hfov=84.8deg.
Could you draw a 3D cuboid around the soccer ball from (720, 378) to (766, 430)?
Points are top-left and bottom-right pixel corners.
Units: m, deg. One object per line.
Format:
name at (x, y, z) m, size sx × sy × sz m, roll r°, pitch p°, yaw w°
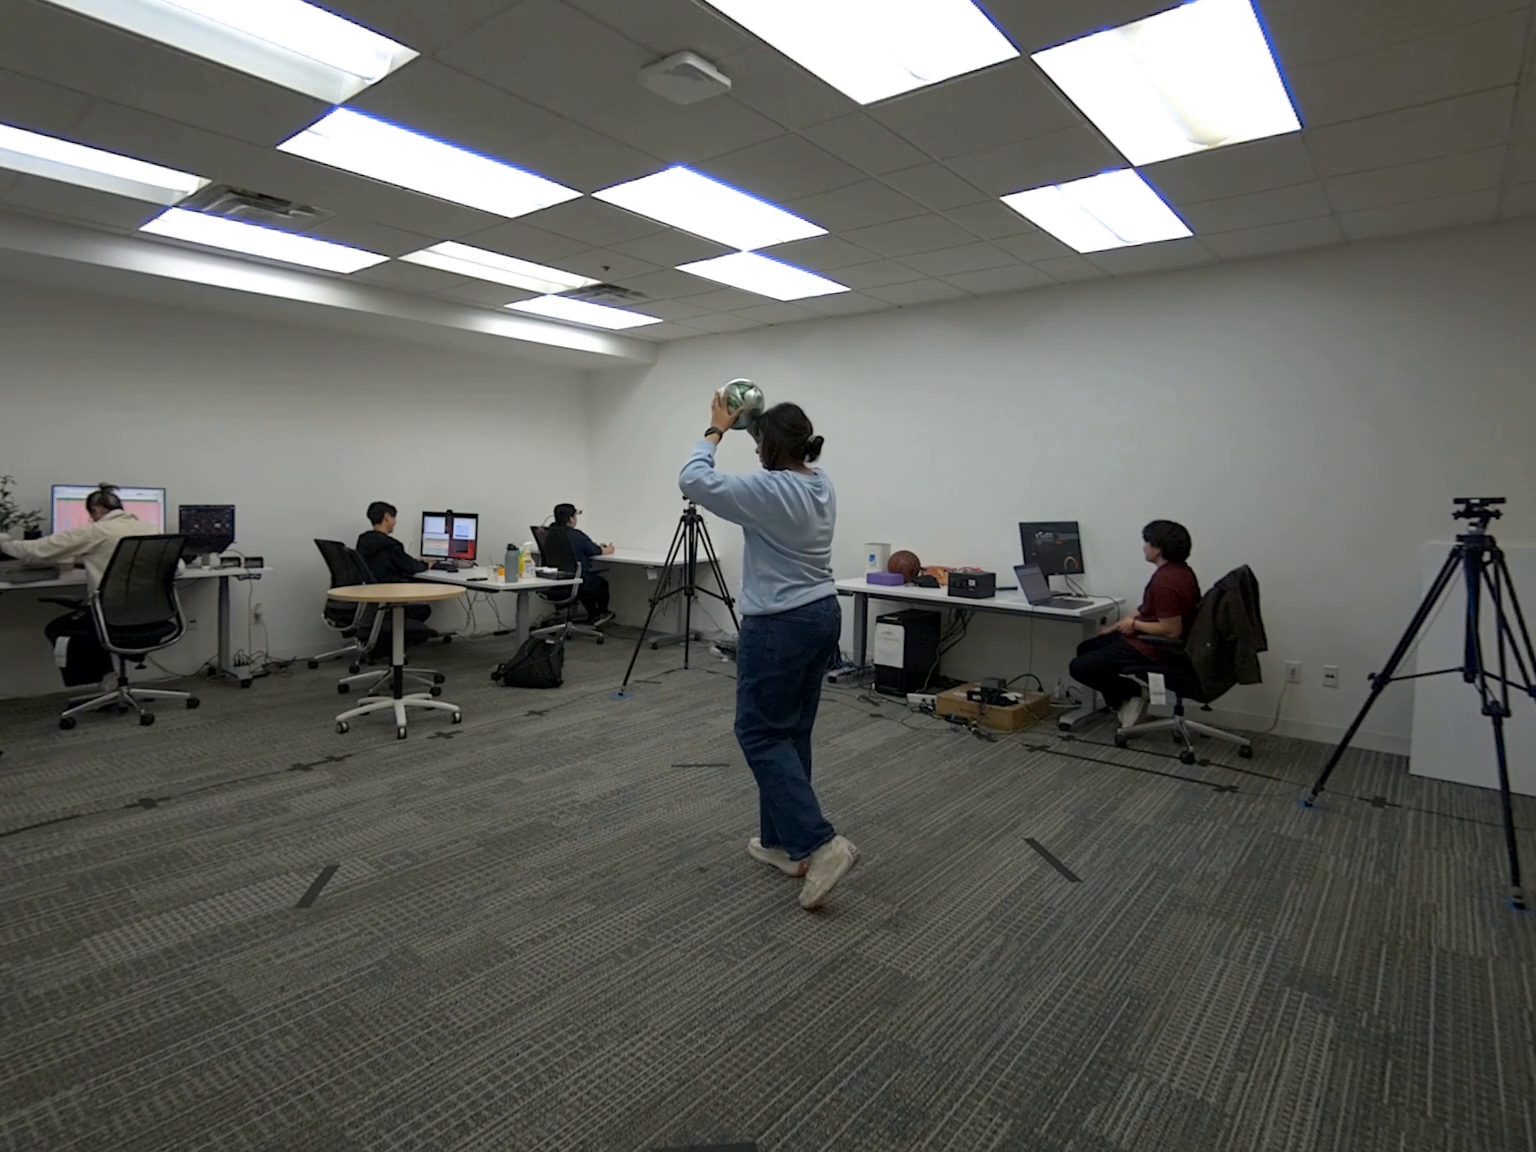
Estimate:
soccer ball at (-0.116, -0.623, 3.130) m, size 0.187 × 0.187 × 0.188 m, roll 1°, pitch 4°, yaw -2°
